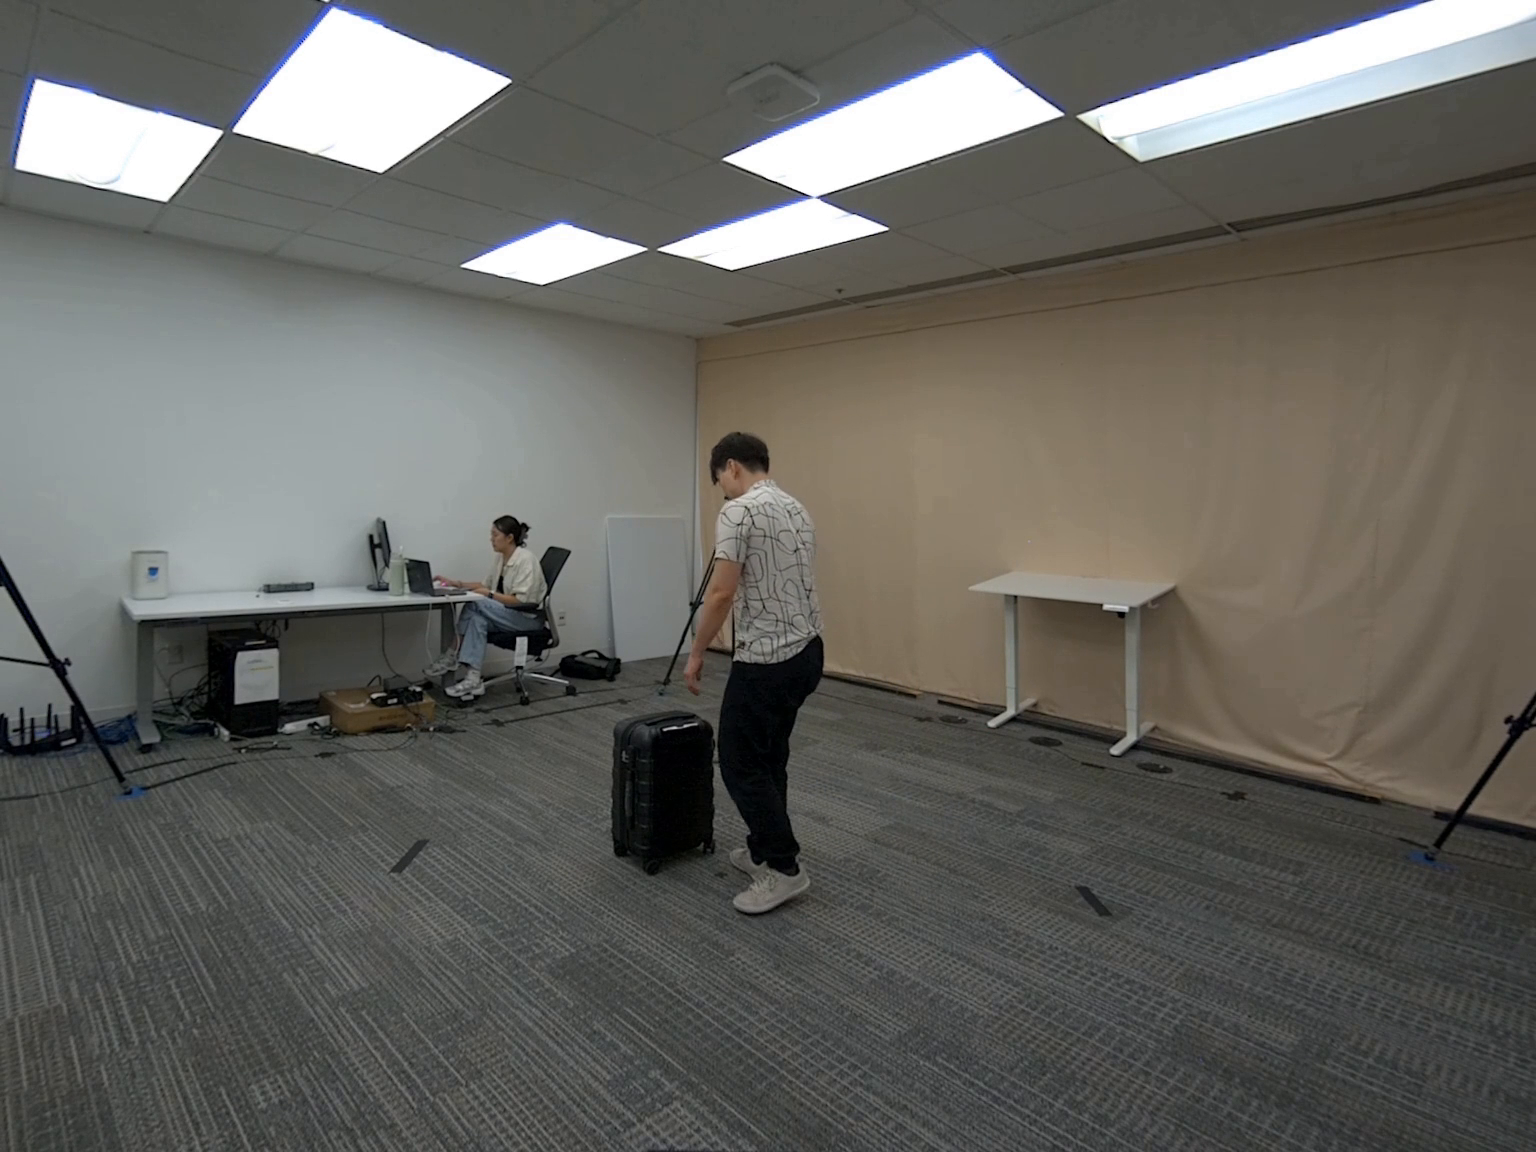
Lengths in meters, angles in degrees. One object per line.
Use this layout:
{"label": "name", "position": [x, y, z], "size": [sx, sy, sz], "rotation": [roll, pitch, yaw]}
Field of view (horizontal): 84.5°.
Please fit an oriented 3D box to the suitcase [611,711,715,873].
{"label": "suitcase", "position": [-0.417, 0.806, 3.258], "size": [0.367, 0.548, 0.254], "rotation": [-3, 5, -38]}
